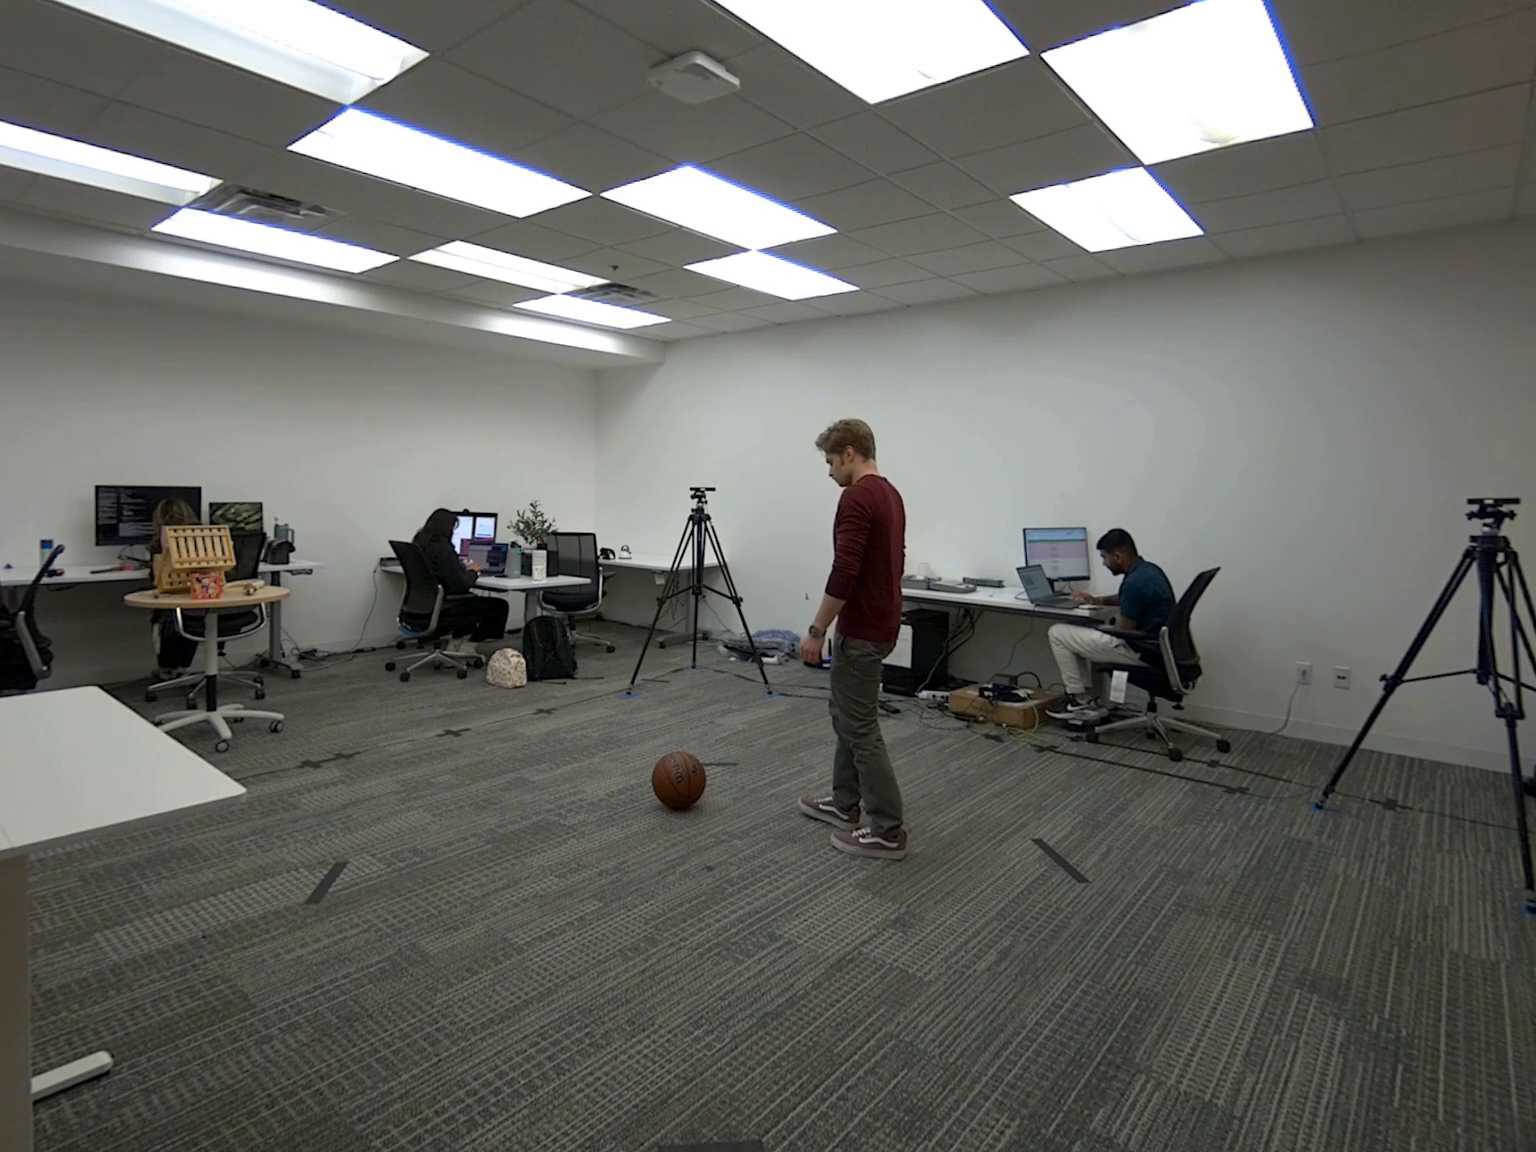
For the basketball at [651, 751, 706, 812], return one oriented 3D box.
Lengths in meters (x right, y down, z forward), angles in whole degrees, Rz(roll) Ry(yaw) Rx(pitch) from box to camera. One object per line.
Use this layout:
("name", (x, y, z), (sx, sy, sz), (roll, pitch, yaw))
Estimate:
("basketball", (-0.397, 0.886, 3.712), (0.235, 0.235, 0.237), (1, 4, -2))
